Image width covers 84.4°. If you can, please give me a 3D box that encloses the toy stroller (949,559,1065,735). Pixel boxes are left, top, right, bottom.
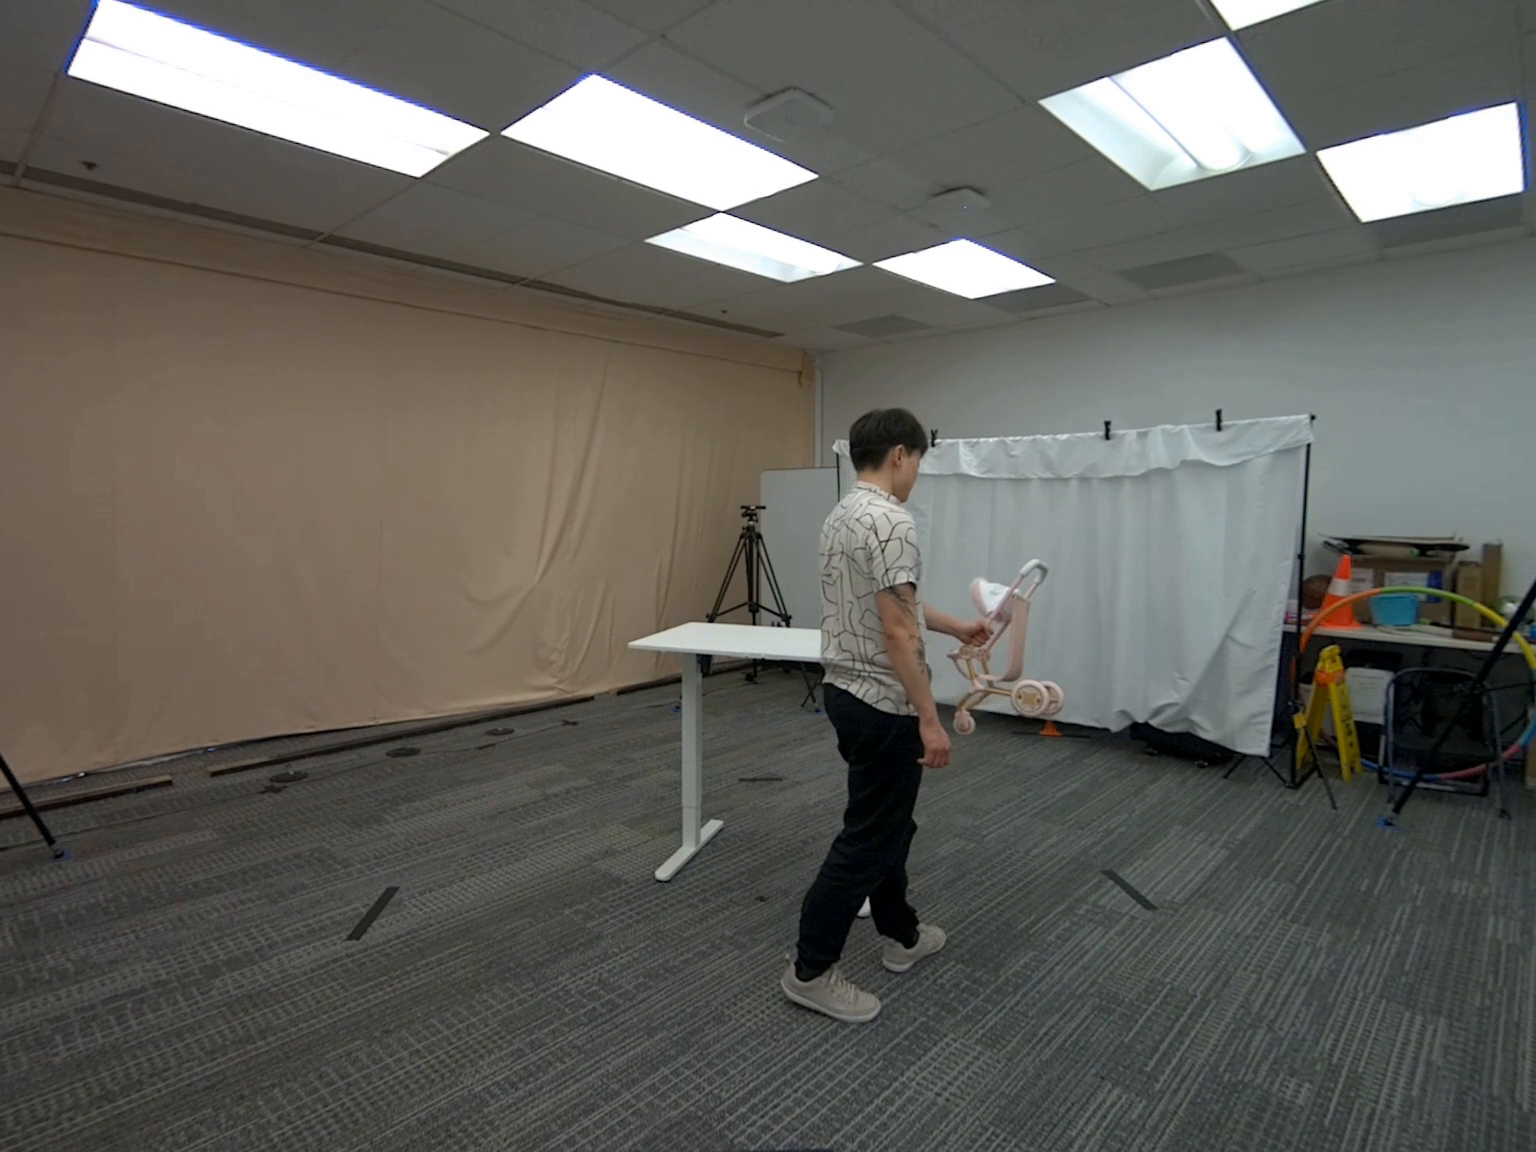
[{"bbox_3d":[0.751,0.240,2.701,0.350,0.539,0.272,-9,-12,34],"label":"toy stroller"}]
